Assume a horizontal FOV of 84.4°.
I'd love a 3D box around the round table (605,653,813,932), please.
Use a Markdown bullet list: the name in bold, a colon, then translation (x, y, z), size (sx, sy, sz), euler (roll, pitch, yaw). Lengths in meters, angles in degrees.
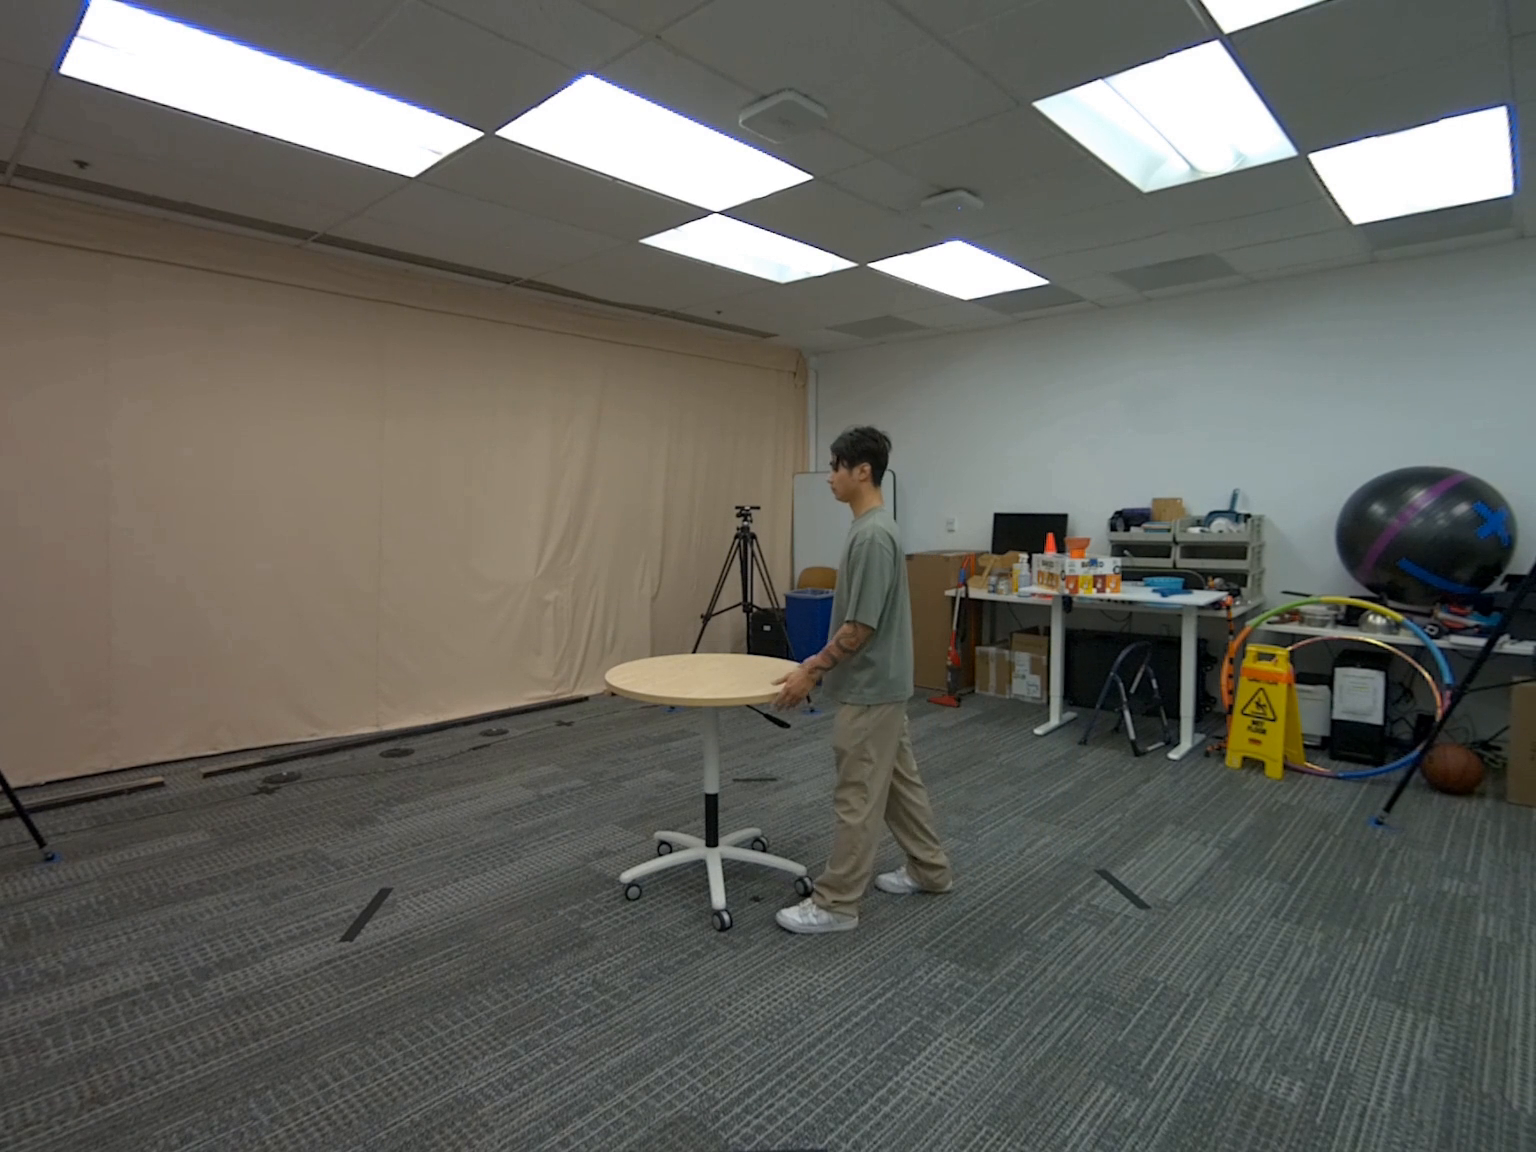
- **round table**: translation (-0.215, 0.744, 3.108), size (0.784, 0.784, 0.788), euler (0, 4, -2)
